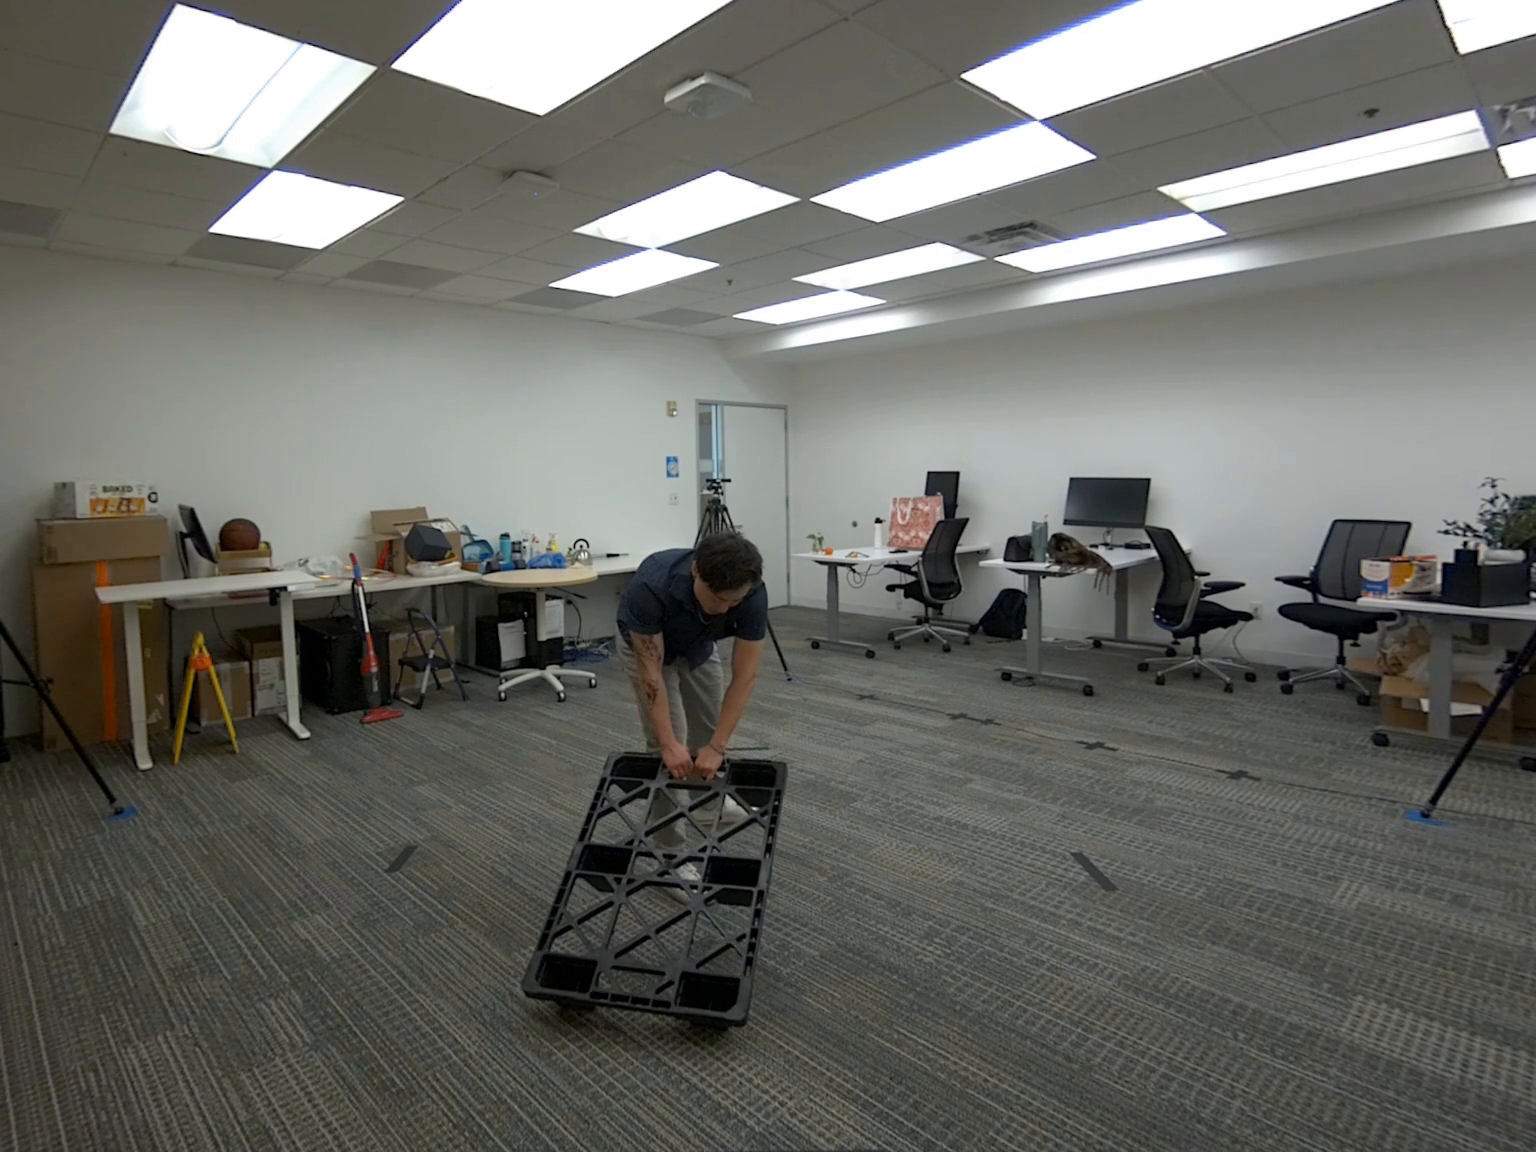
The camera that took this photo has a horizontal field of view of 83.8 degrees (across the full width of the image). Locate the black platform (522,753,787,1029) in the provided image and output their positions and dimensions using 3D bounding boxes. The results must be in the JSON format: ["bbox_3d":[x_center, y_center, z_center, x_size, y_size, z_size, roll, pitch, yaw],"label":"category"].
[{"bbox_3d":[-0.270,0.872,2.487,0.613,0.139,0.819,1,38,12],"label":"black platform"}]
